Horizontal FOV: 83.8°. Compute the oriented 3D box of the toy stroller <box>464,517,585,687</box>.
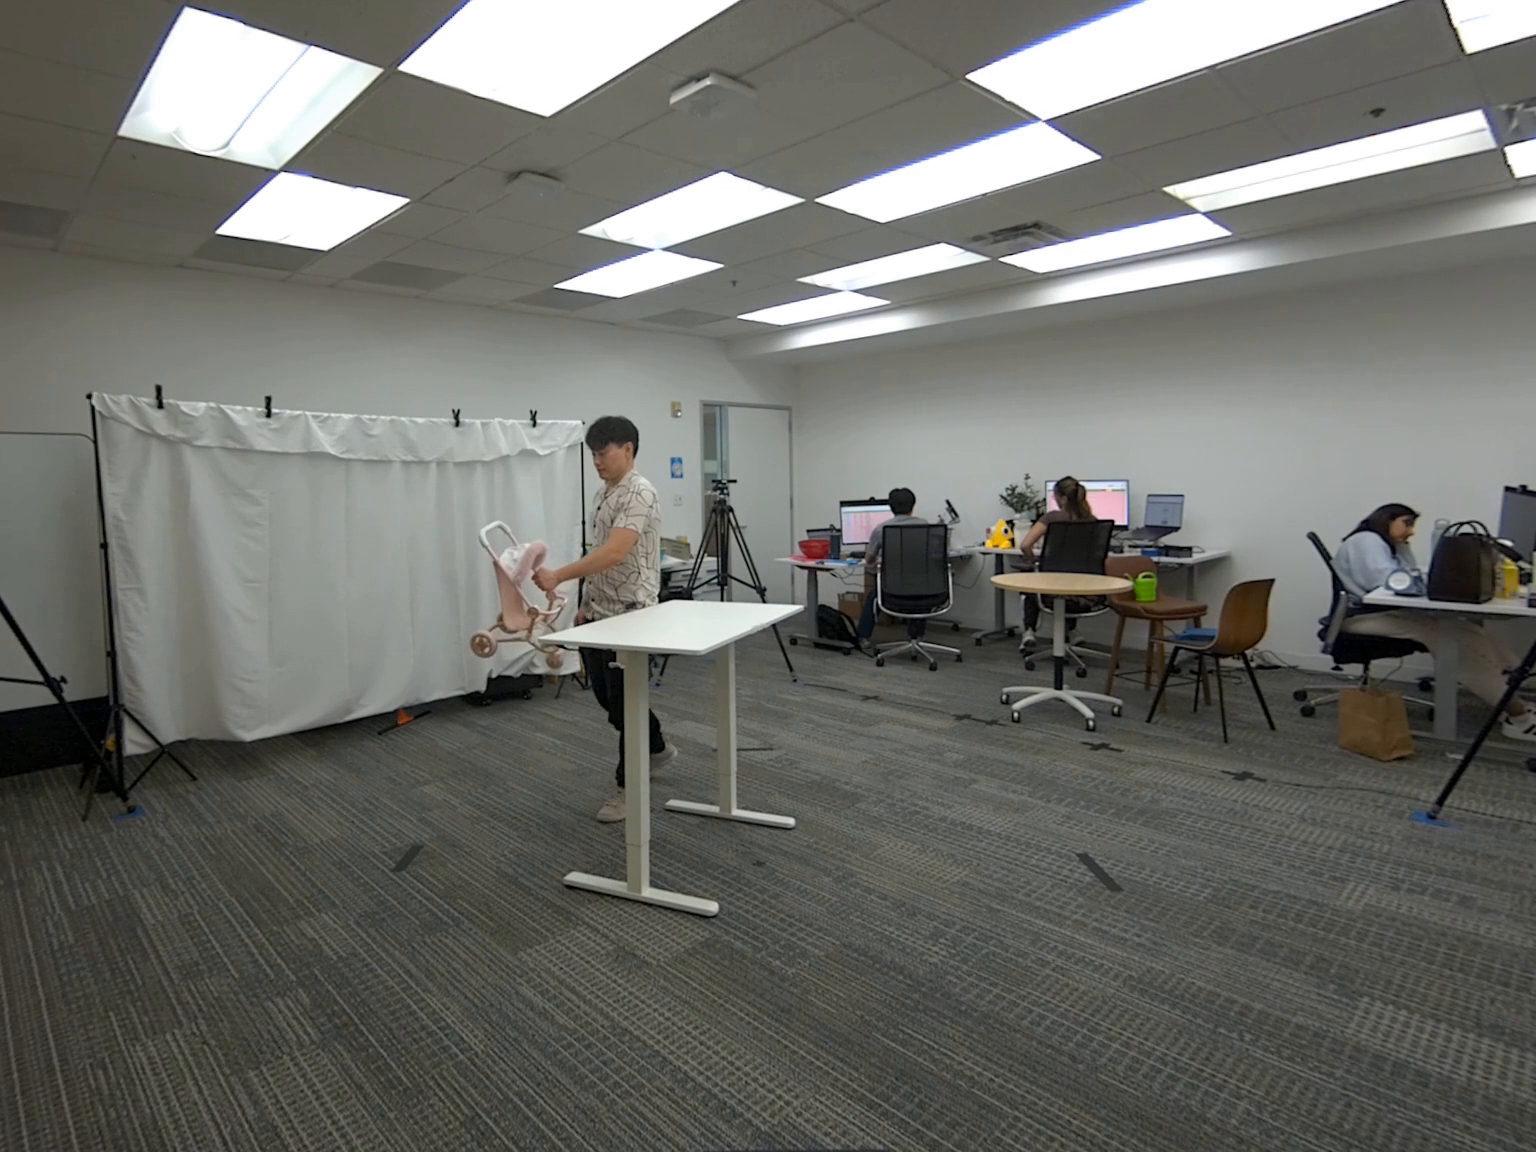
[{"bbox_3d":[-0.926,0.085,3.262,0.346,0.529,0.281,9,15,12],"label":"toy stroller"}]
